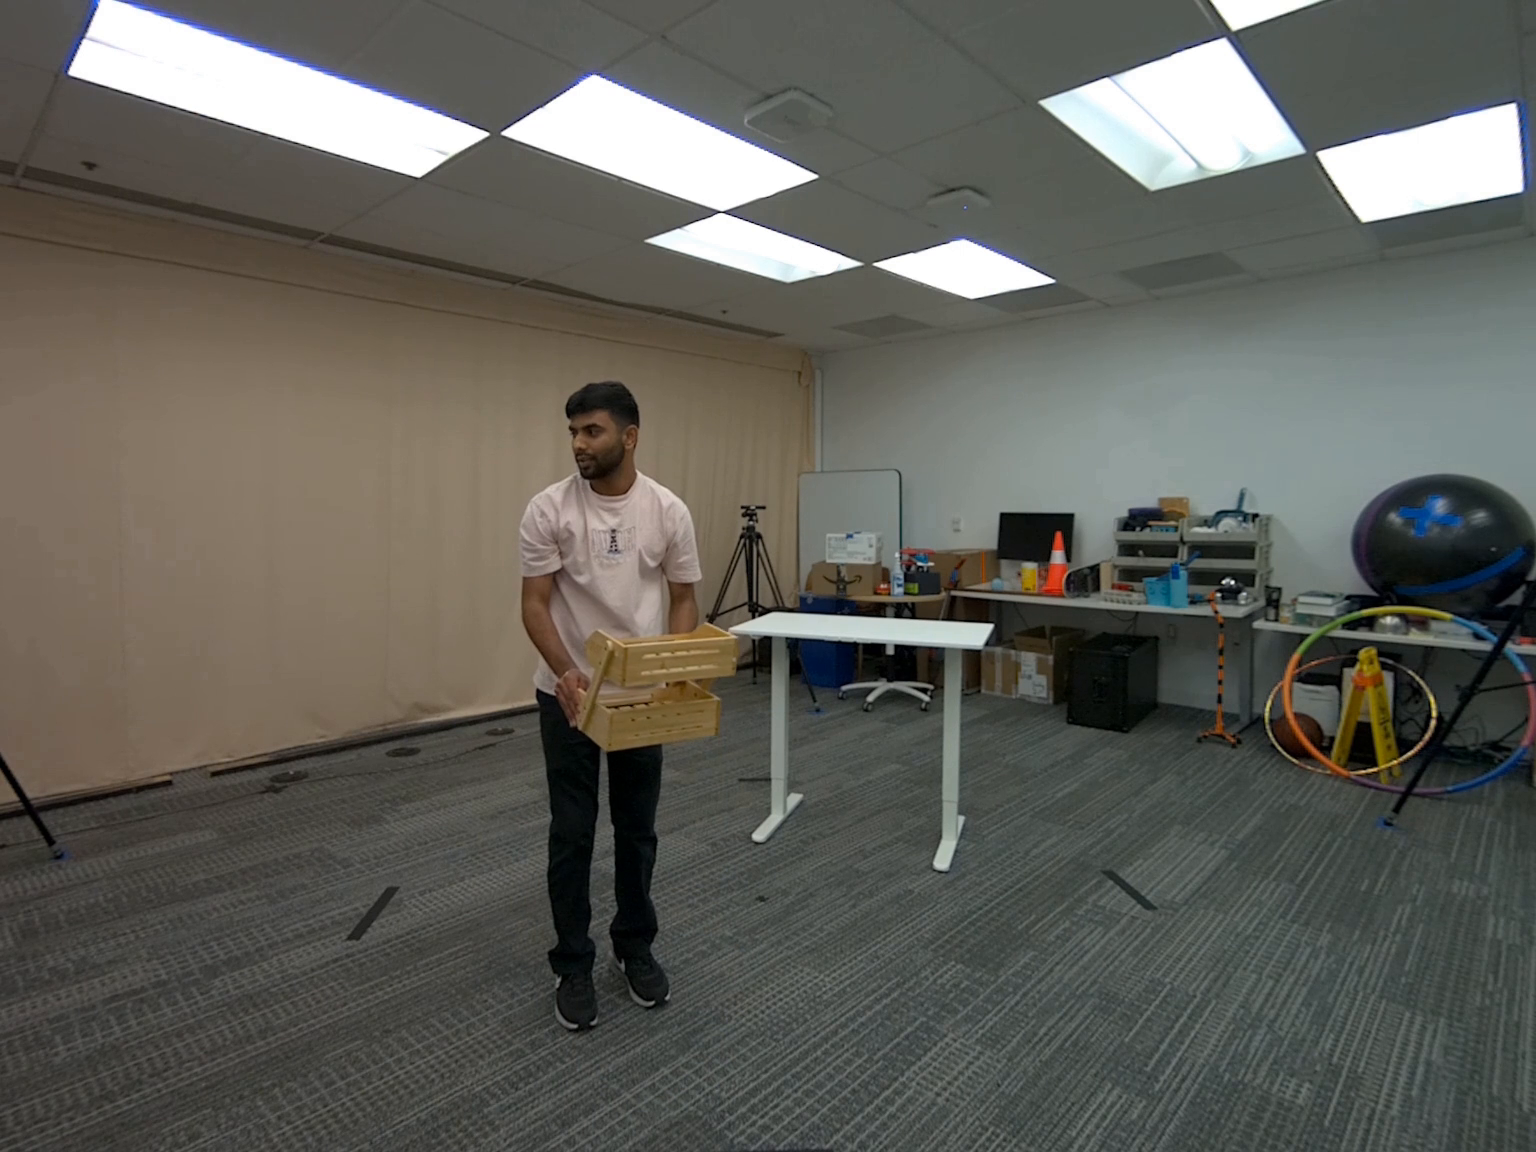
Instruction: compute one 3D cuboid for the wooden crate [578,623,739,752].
[{"bbox_3d":[-0.290,0.244,2.047,0.315,0.272,0.312,-1,11,-35],"label":"wooden crate"}]
